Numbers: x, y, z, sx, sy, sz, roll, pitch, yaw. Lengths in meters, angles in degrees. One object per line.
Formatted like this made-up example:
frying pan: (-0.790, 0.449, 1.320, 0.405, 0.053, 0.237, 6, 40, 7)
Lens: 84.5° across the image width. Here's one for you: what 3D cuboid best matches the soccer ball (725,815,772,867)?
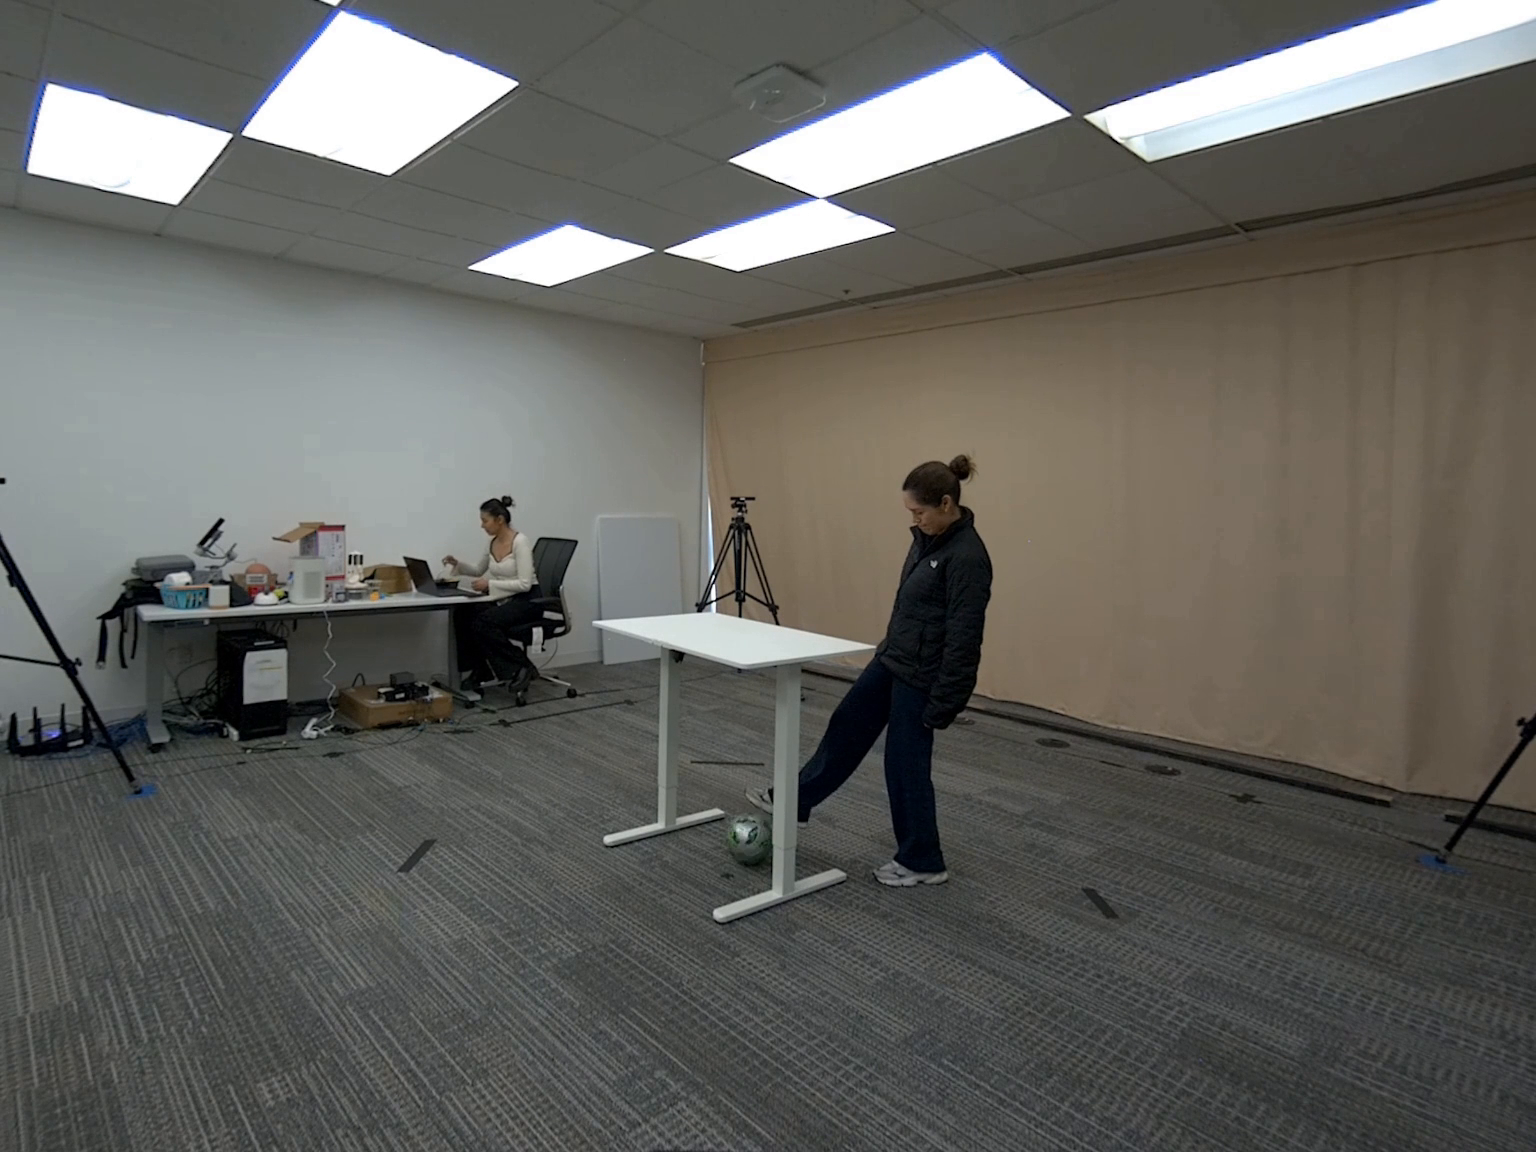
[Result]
soccer ball: (-0.070, 1.002, 3.218, 0.187, 0.187, 0.188, 1, 4, -1)
